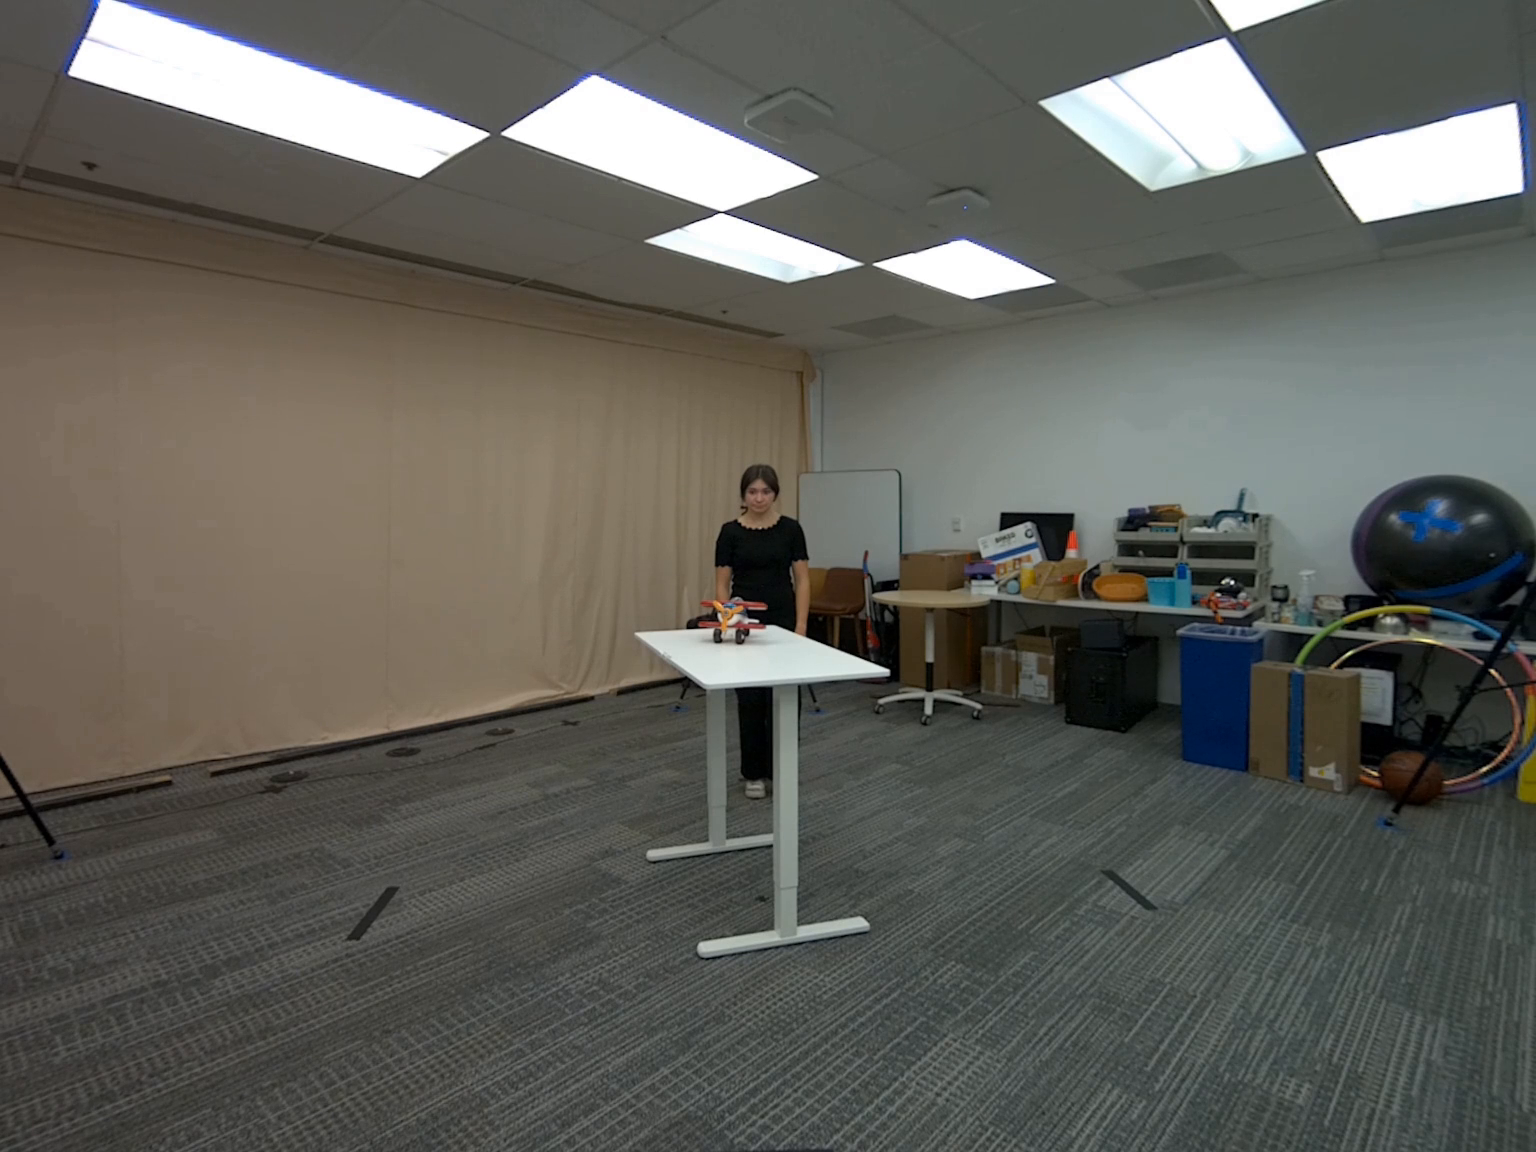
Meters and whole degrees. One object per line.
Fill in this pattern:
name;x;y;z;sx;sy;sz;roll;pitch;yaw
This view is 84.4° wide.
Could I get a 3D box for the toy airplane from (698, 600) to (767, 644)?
toy airplane;-0.144;0.165;3.198;0.248;0.156;0.263;0;5;-14
